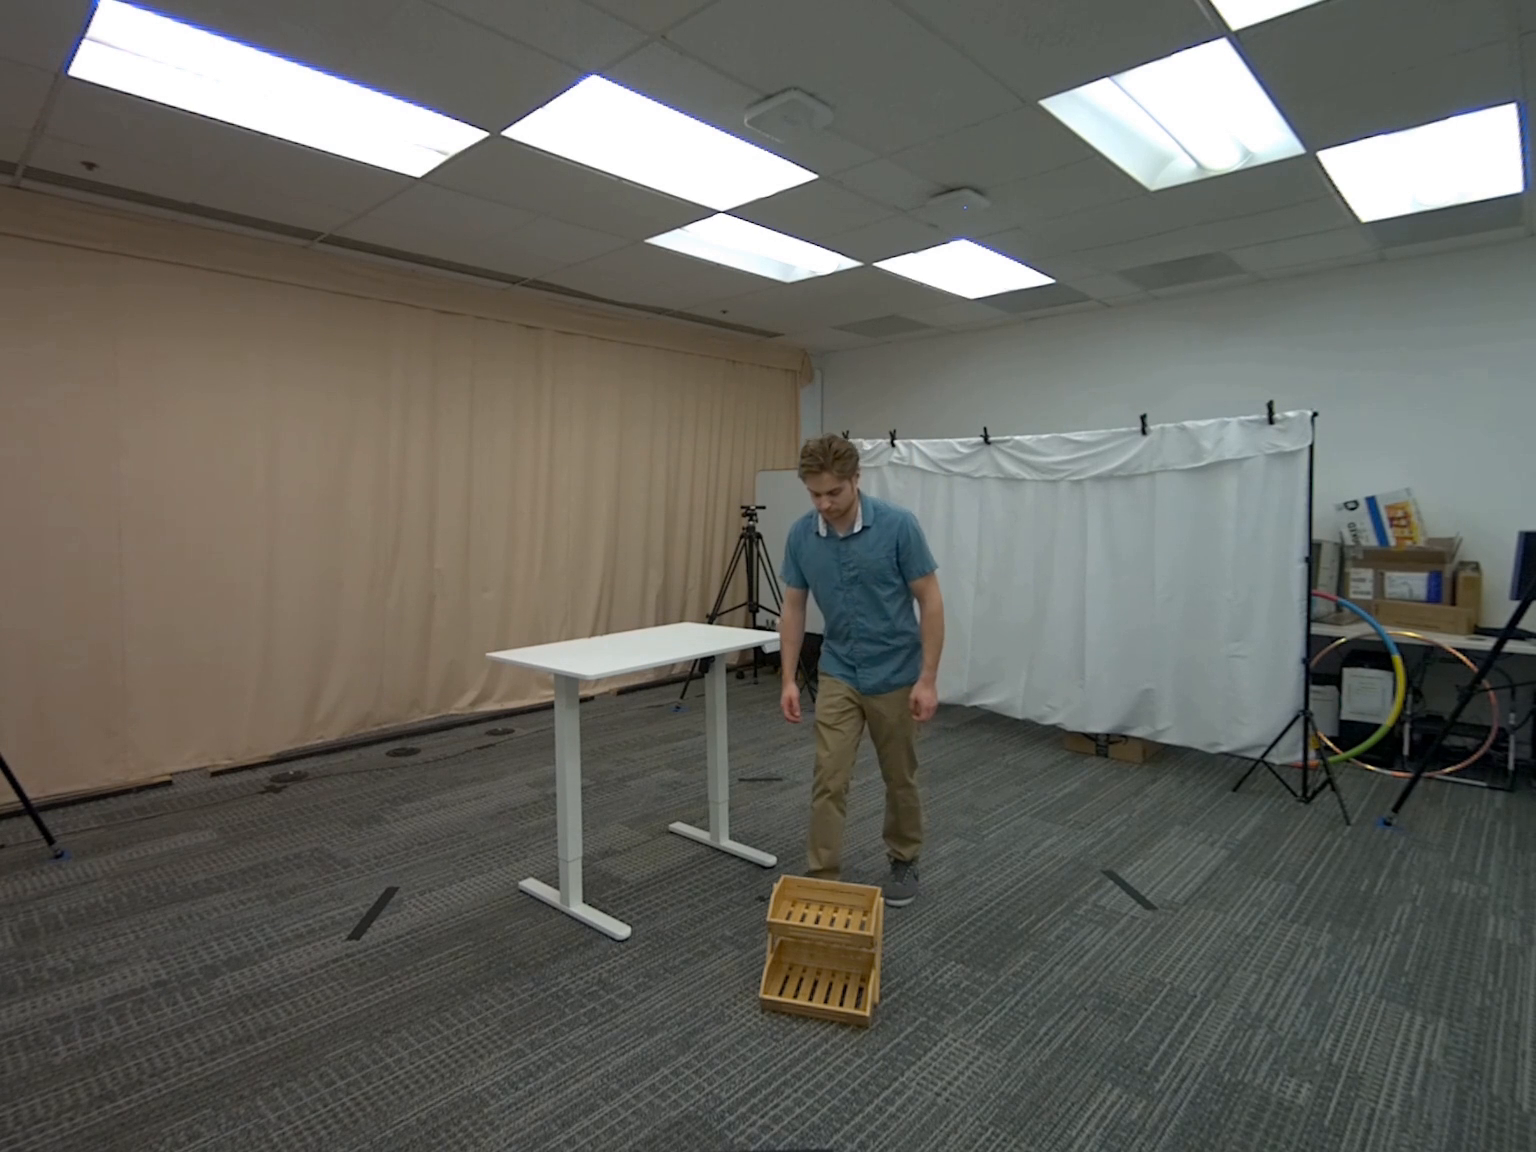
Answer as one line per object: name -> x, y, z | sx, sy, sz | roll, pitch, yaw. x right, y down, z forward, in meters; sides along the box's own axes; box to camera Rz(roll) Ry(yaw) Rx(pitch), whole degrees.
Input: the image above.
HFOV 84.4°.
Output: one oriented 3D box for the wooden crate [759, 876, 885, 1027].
wooden crate -> 0.163, 1.060, 2.400 | 0.330, 0.273, 0.298 | 1, 3, 14
